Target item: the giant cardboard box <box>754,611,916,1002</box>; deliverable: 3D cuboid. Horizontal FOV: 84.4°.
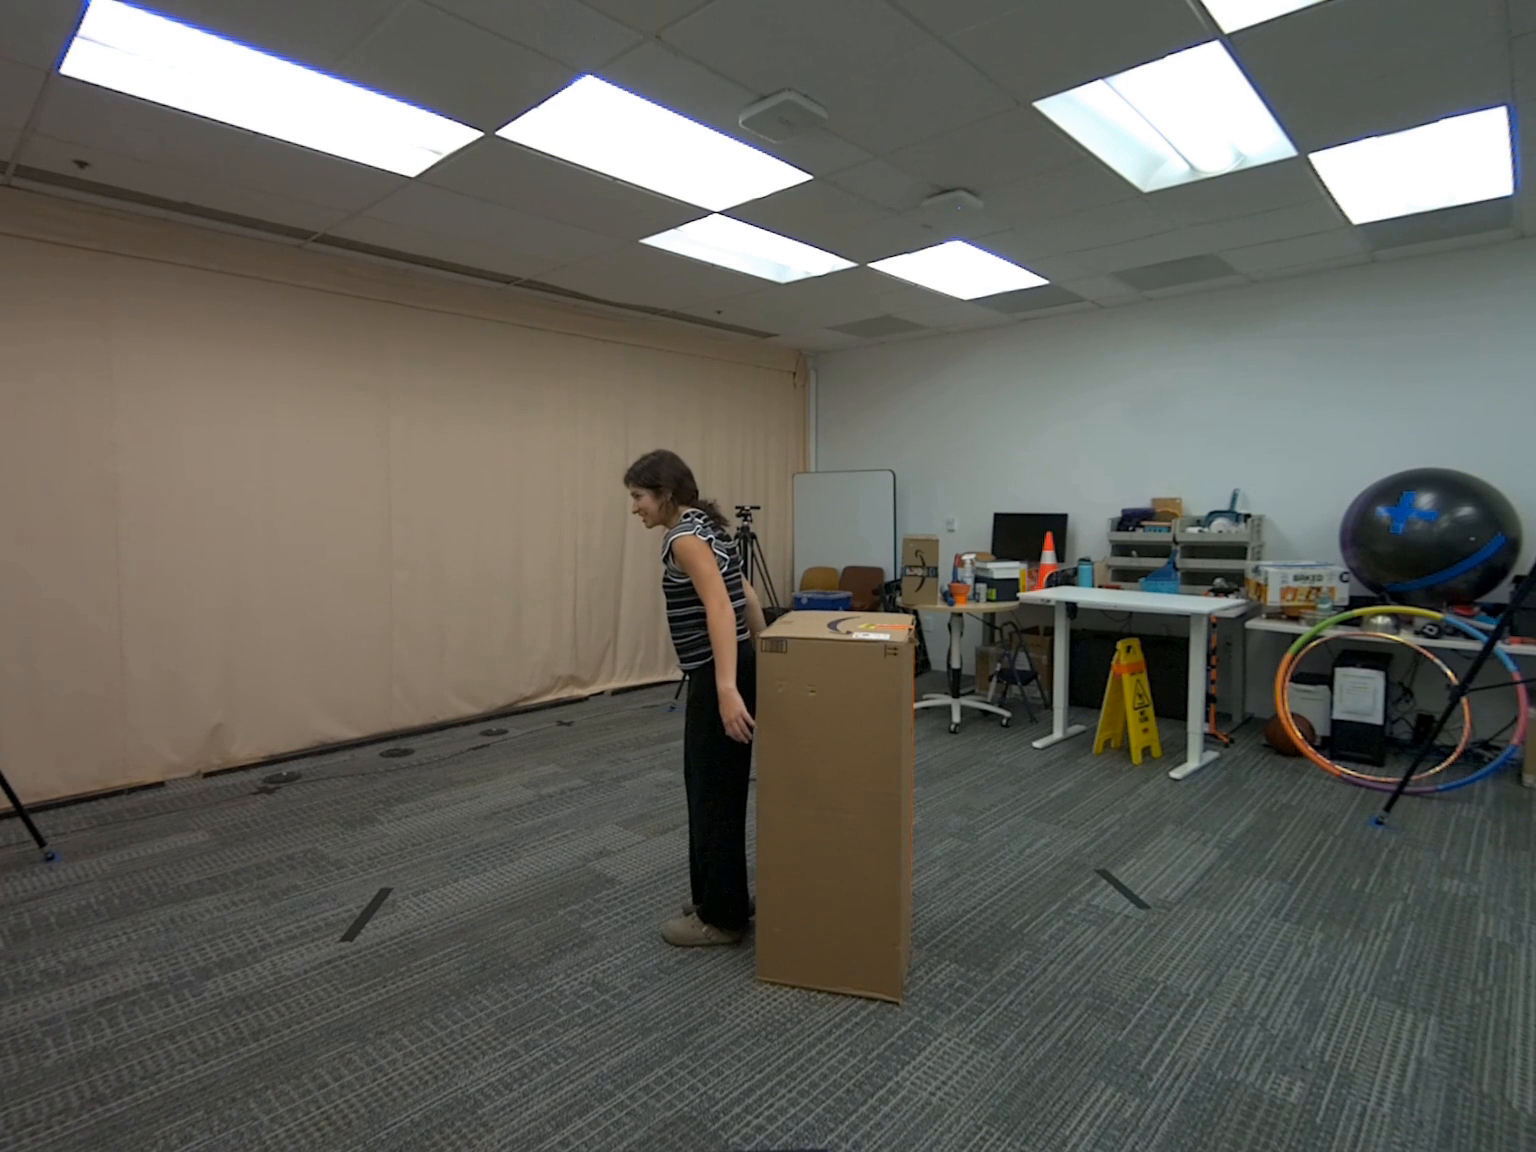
[{"bbox_3d":[0.231,0.661,2.661,0.432,1.024,0.570,0,3,12],"label":"giant cardboard box"}]
